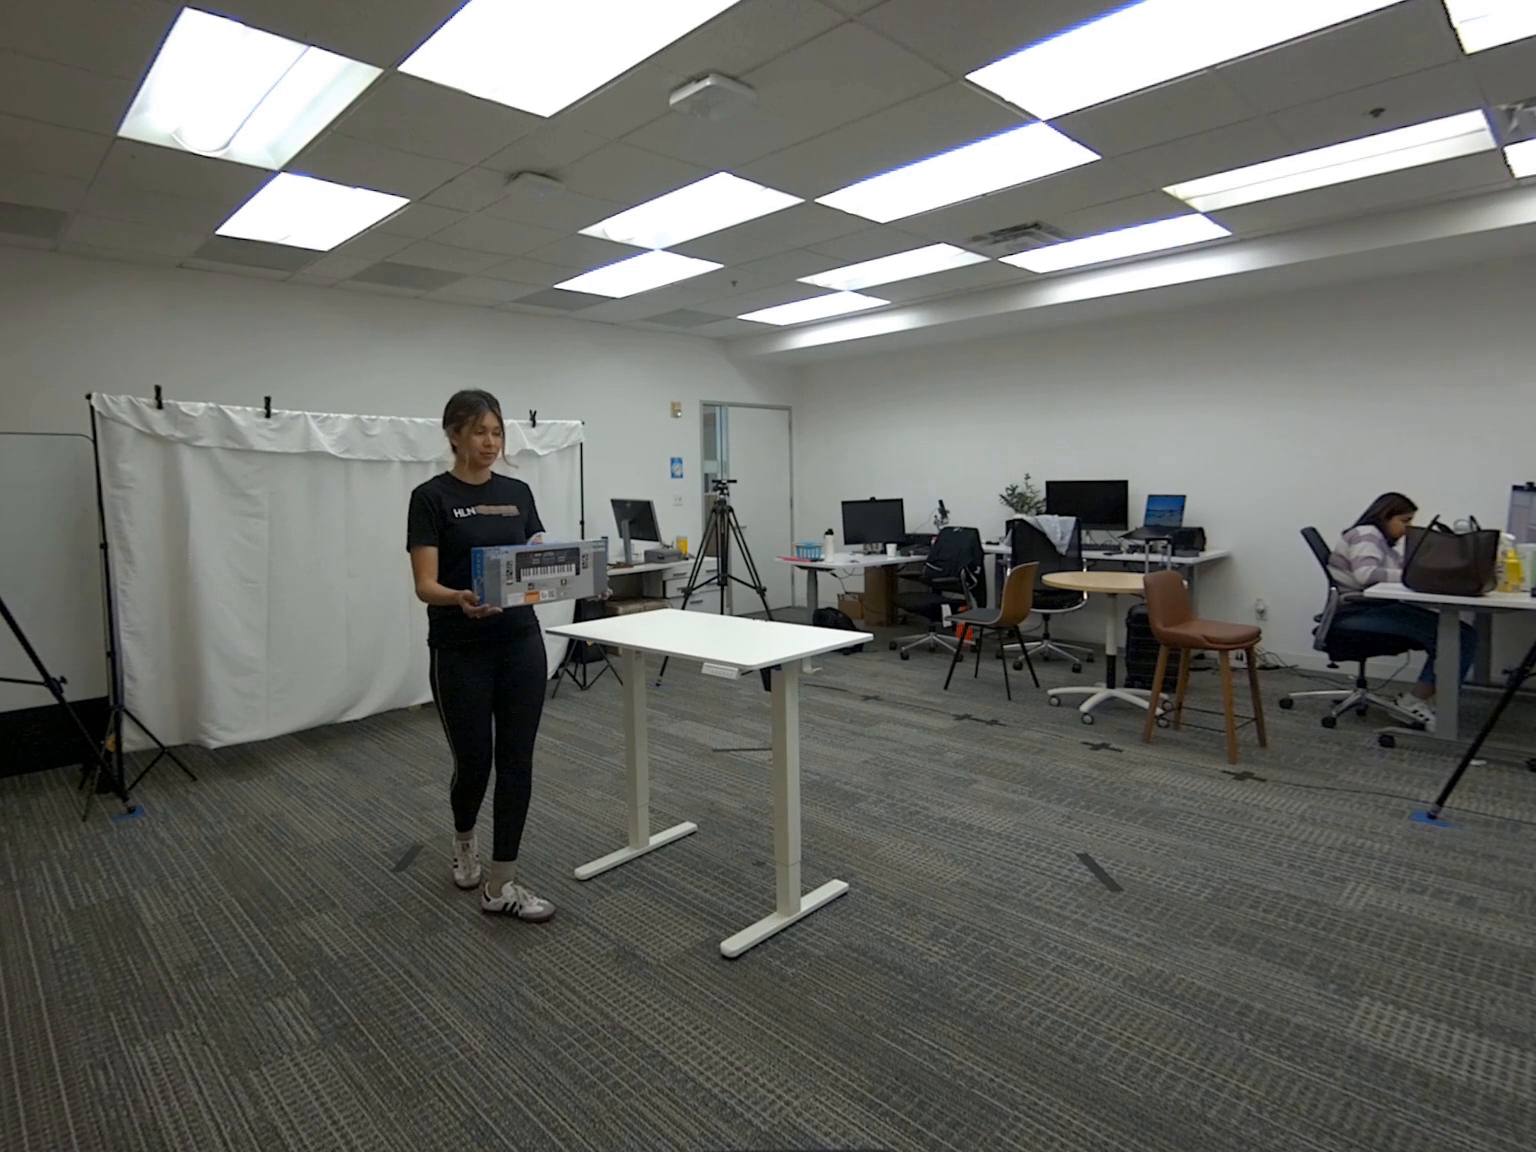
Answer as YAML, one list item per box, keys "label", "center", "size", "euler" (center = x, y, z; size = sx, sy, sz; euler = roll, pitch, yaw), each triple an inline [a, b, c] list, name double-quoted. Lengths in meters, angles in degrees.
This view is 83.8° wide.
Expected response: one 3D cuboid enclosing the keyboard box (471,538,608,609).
- label: "keyboard box"
  center: [-0.663, -0.007, 2.520]
  size: [0.061, 0.175, 0.425]
  euler: [5, 9, 42]
